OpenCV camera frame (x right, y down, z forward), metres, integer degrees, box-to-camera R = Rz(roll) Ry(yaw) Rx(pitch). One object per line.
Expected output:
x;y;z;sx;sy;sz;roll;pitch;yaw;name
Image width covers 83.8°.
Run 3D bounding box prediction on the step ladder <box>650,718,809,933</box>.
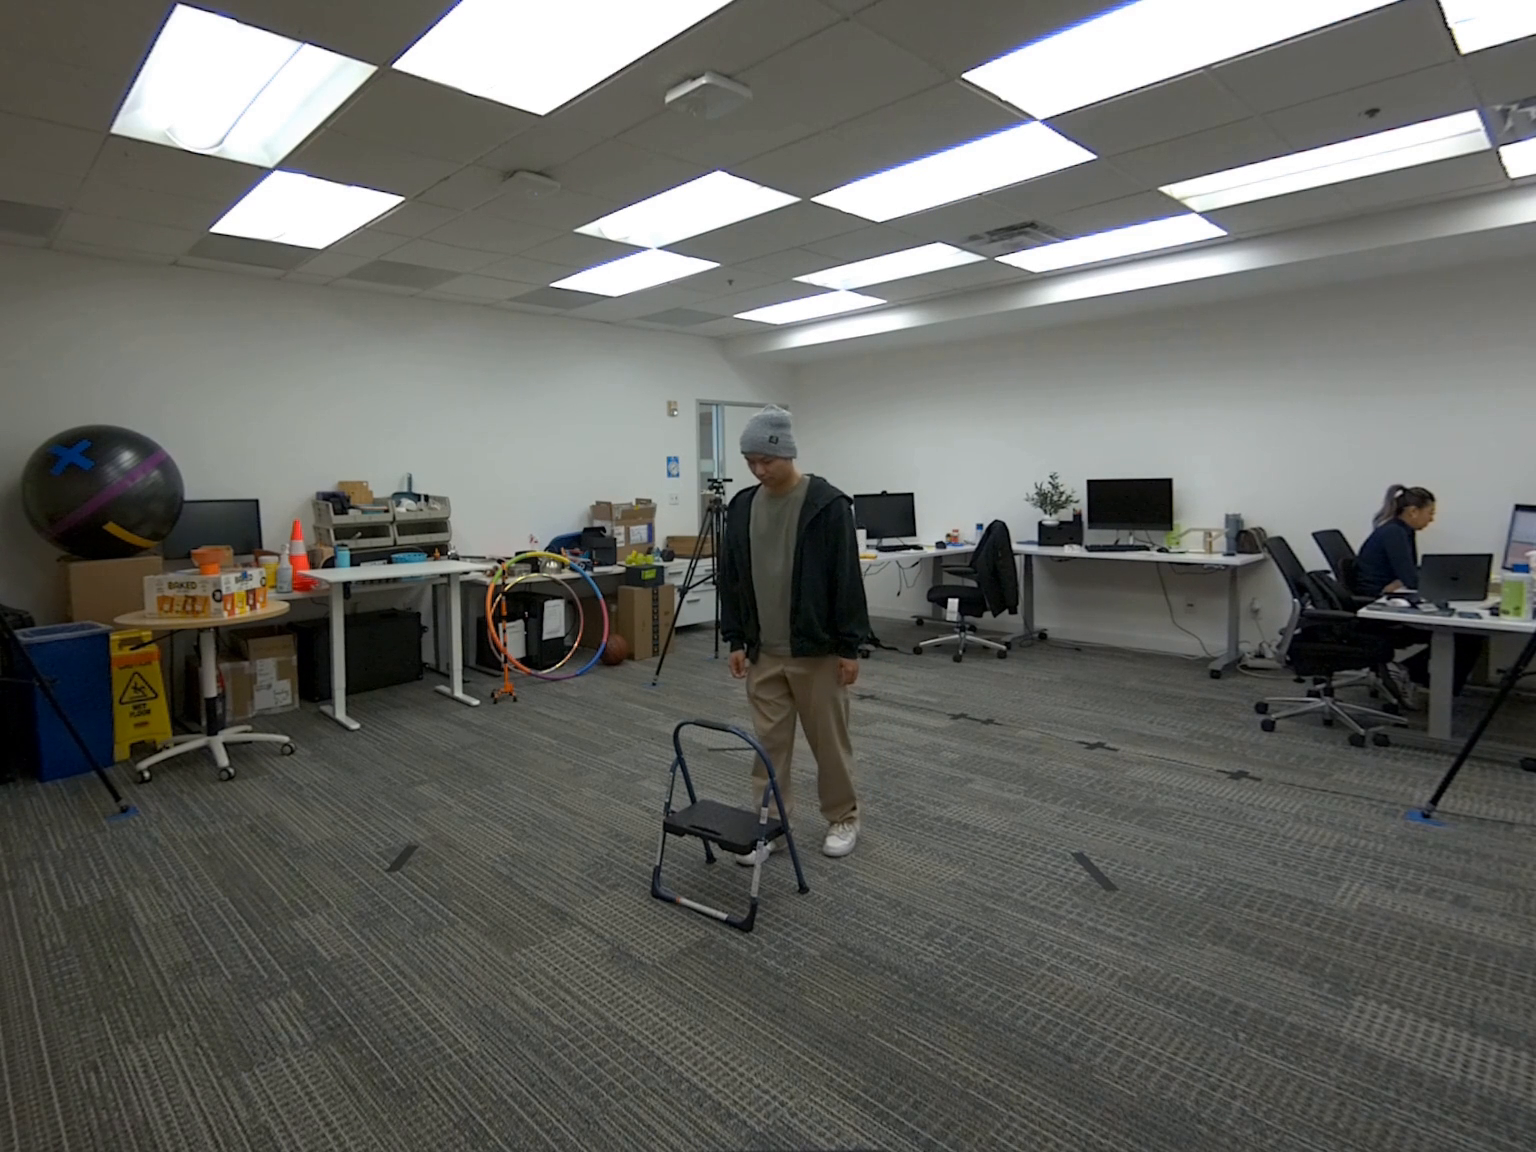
-0.135;0.771;2.865;0.443;0.604;0.340;2;5;35;step ladder
